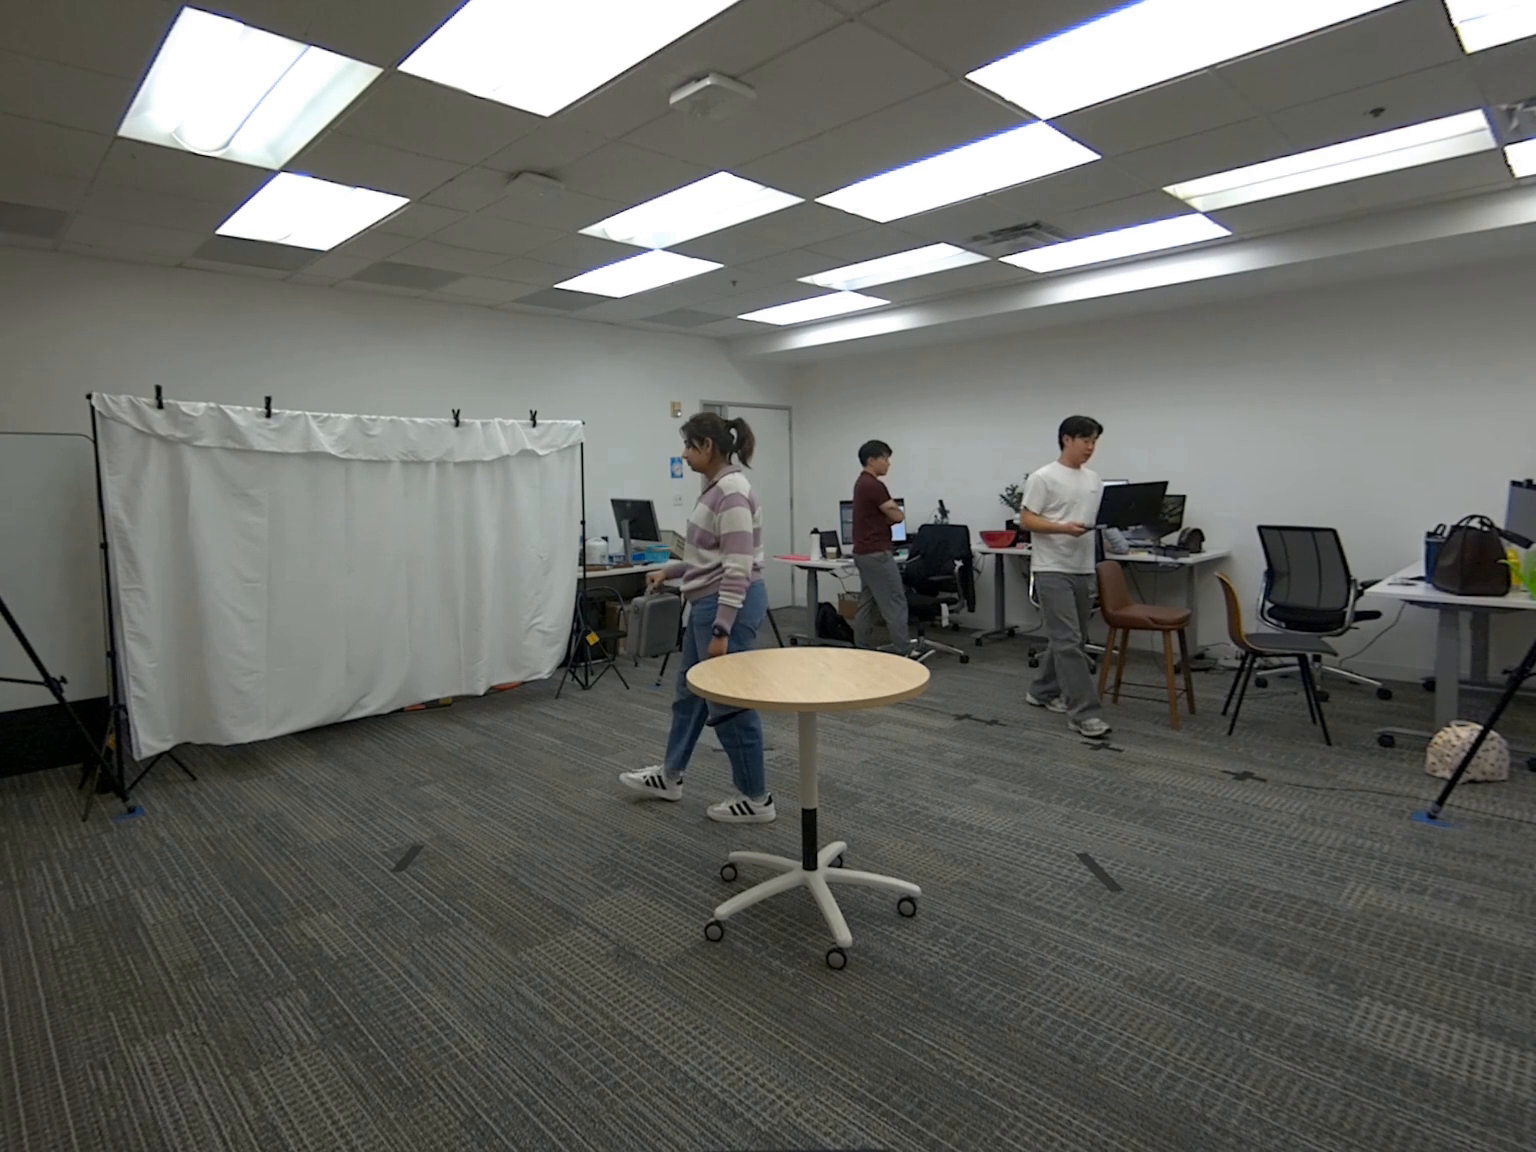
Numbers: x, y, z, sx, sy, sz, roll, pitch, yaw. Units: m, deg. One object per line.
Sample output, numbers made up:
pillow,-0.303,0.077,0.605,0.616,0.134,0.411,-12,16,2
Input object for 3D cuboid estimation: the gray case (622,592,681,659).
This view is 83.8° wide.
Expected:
gray case,-0.488,0.204,3.691,0.107,0.259,0.251,9,7,28
